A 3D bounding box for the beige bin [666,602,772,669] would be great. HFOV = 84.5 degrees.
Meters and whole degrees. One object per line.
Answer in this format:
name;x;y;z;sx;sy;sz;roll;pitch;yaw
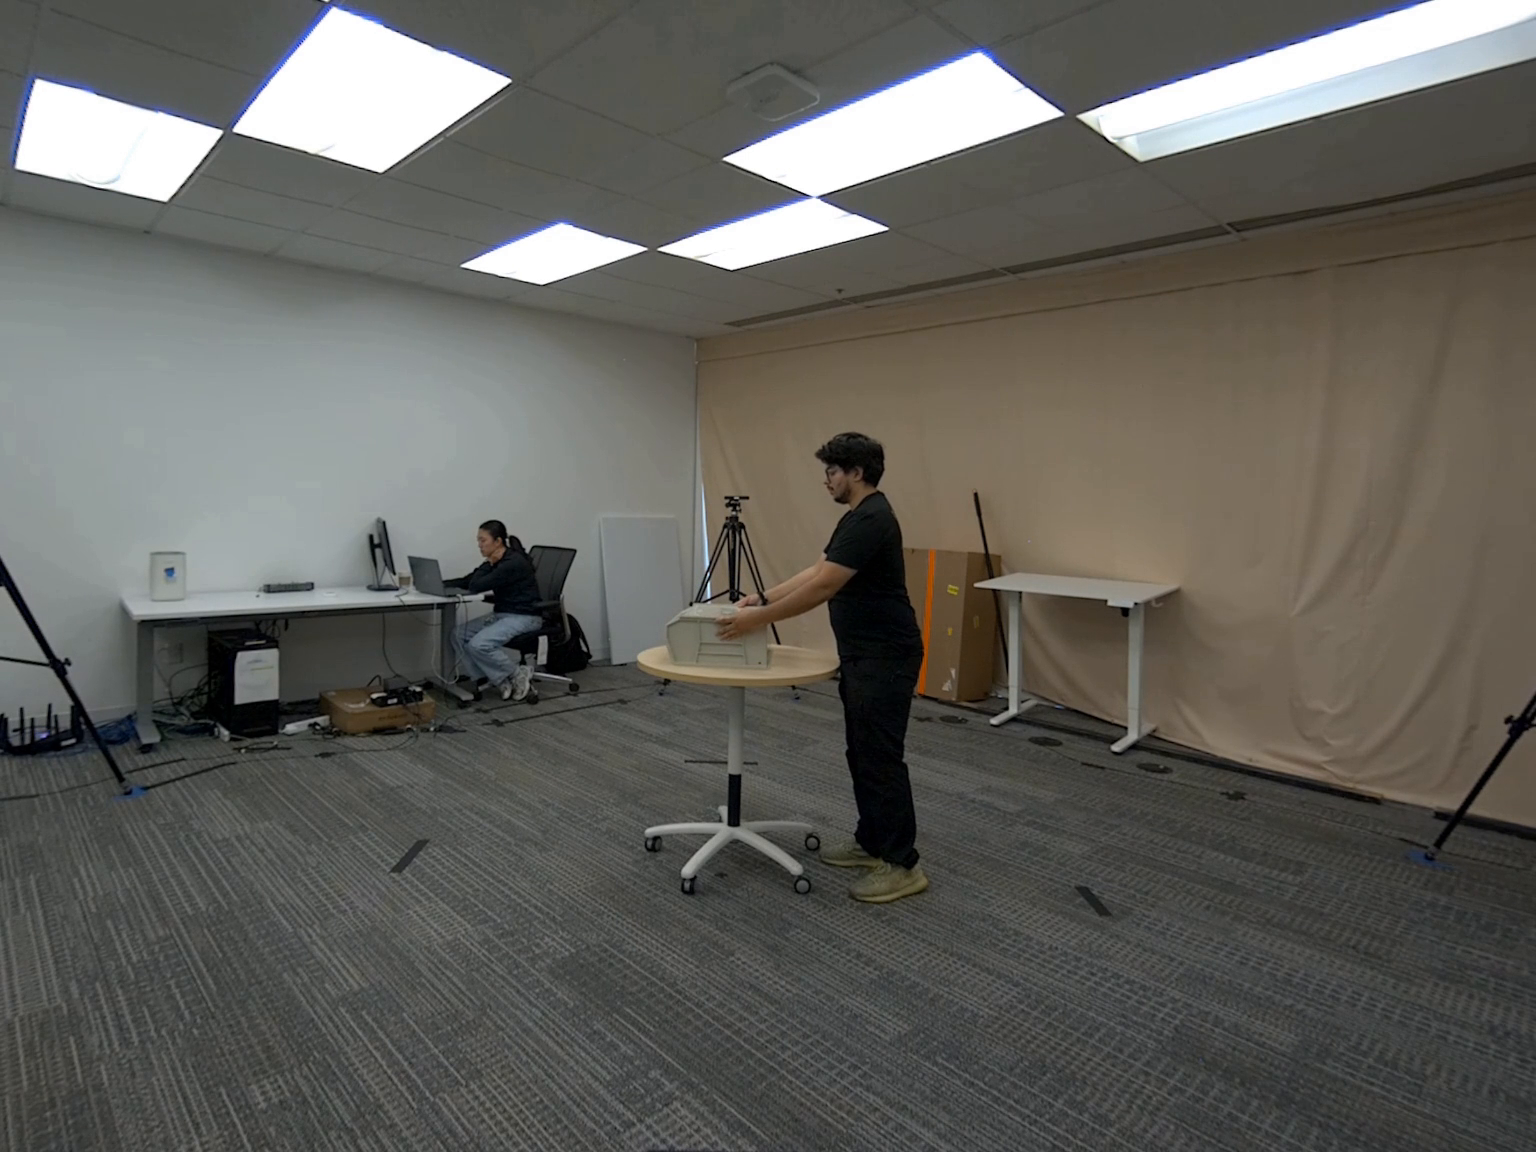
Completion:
beige bin;-0.181;0.223;3.203;0.378;0.188;0.422;1;4;3
